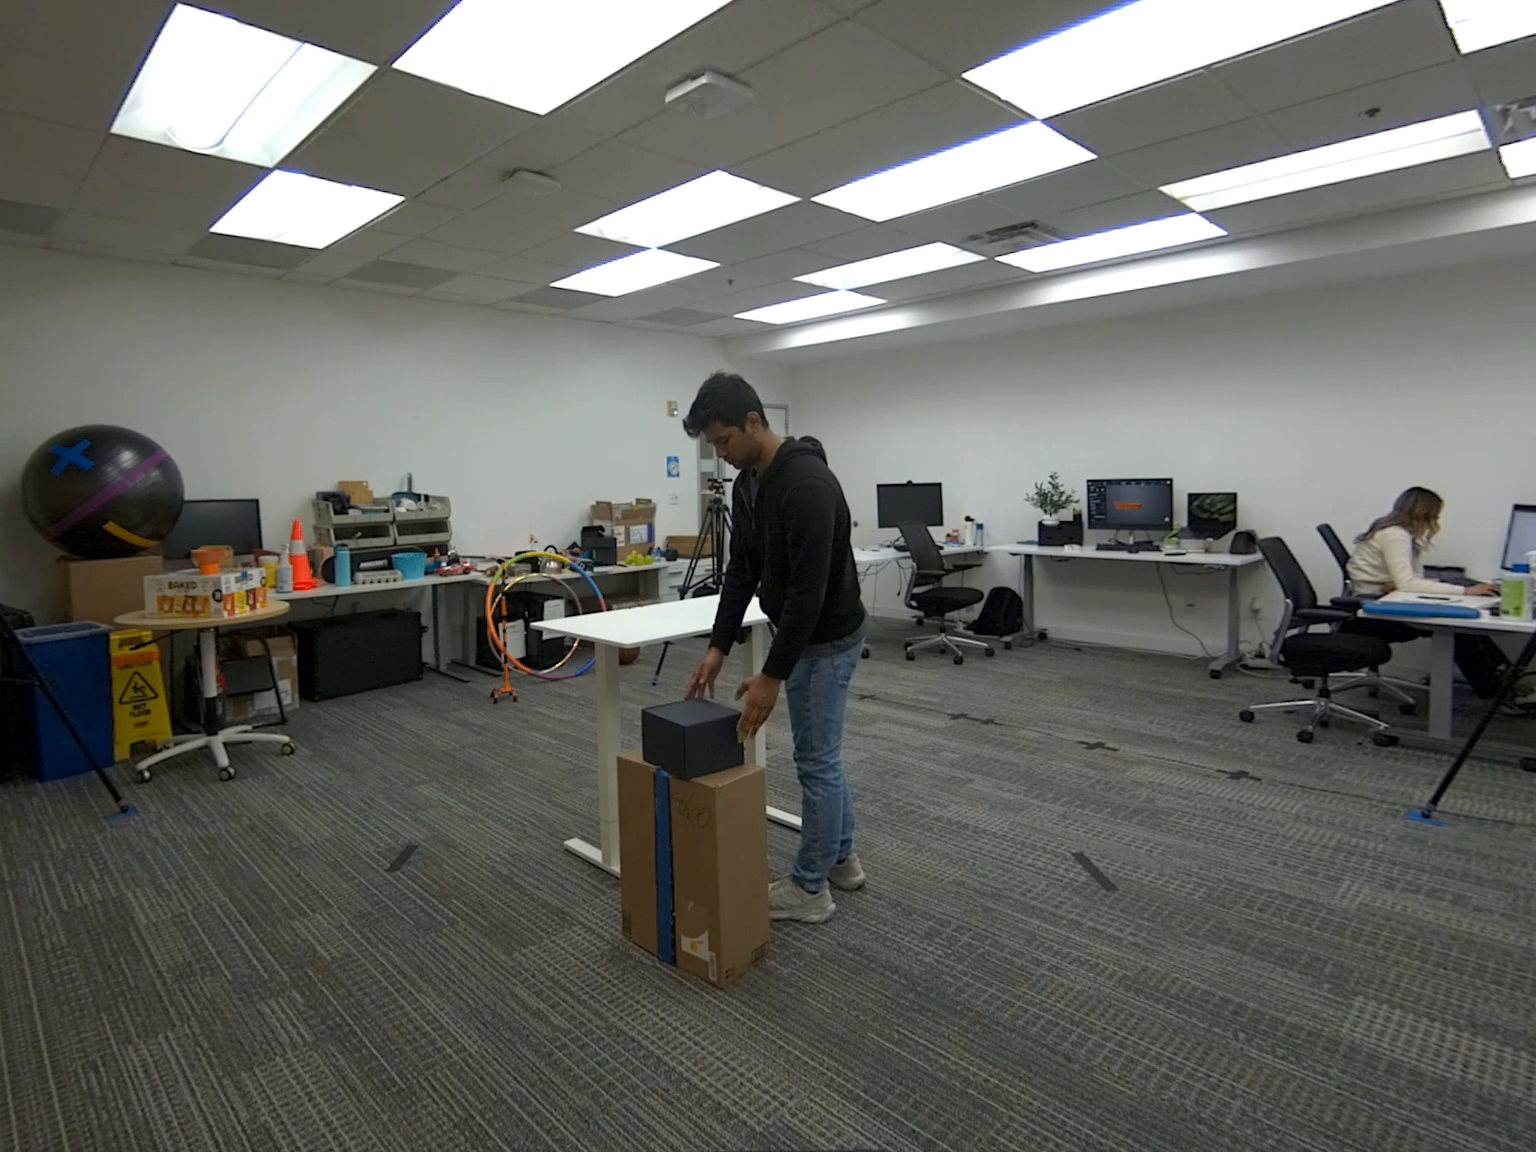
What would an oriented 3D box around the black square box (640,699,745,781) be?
[{"bbox_3d":[-0.219,0.473,2.511,0.211,0.155,0.235,-5,7,-39],"label":"black square box"}]
